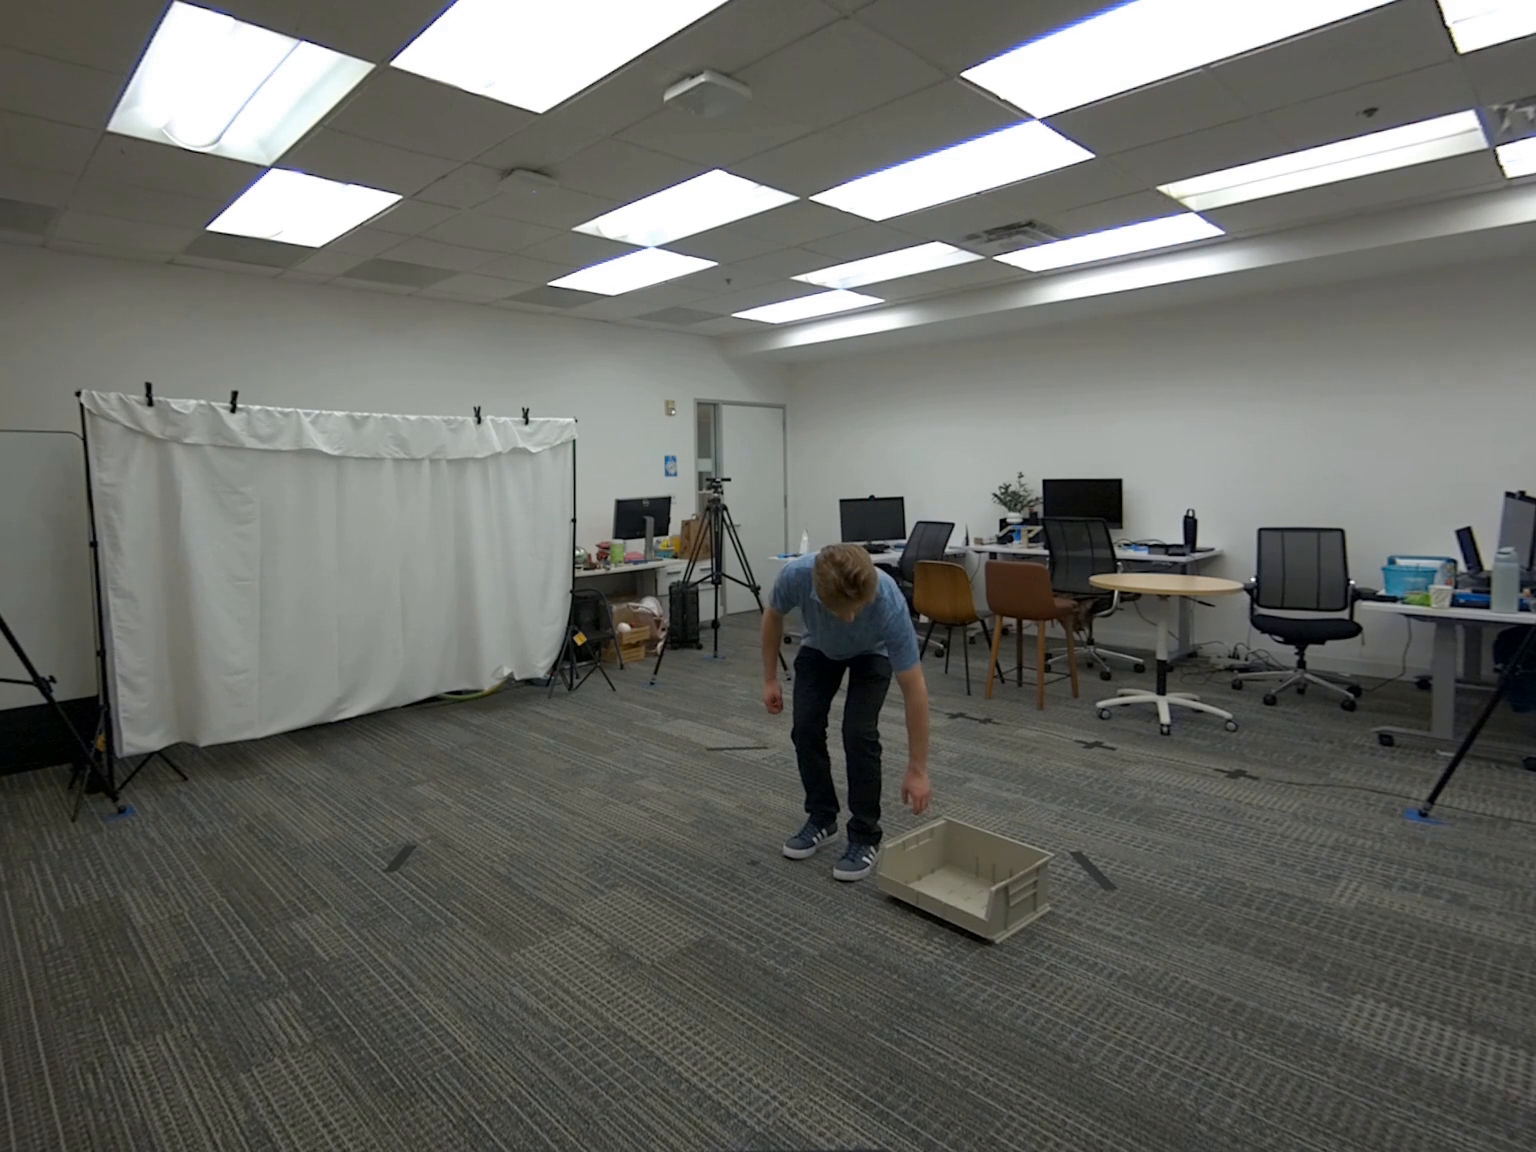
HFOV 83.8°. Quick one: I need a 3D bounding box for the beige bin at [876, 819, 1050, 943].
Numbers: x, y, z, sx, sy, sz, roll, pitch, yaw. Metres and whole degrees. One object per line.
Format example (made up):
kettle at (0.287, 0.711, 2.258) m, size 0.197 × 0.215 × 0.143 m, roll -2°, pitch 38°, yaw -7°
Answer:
beige bin at (0.639, 0.981, 2.771) m, size 0.367 × 0.188 × 0.435 m, roll -5°, pitch 6°, yaw -41°
